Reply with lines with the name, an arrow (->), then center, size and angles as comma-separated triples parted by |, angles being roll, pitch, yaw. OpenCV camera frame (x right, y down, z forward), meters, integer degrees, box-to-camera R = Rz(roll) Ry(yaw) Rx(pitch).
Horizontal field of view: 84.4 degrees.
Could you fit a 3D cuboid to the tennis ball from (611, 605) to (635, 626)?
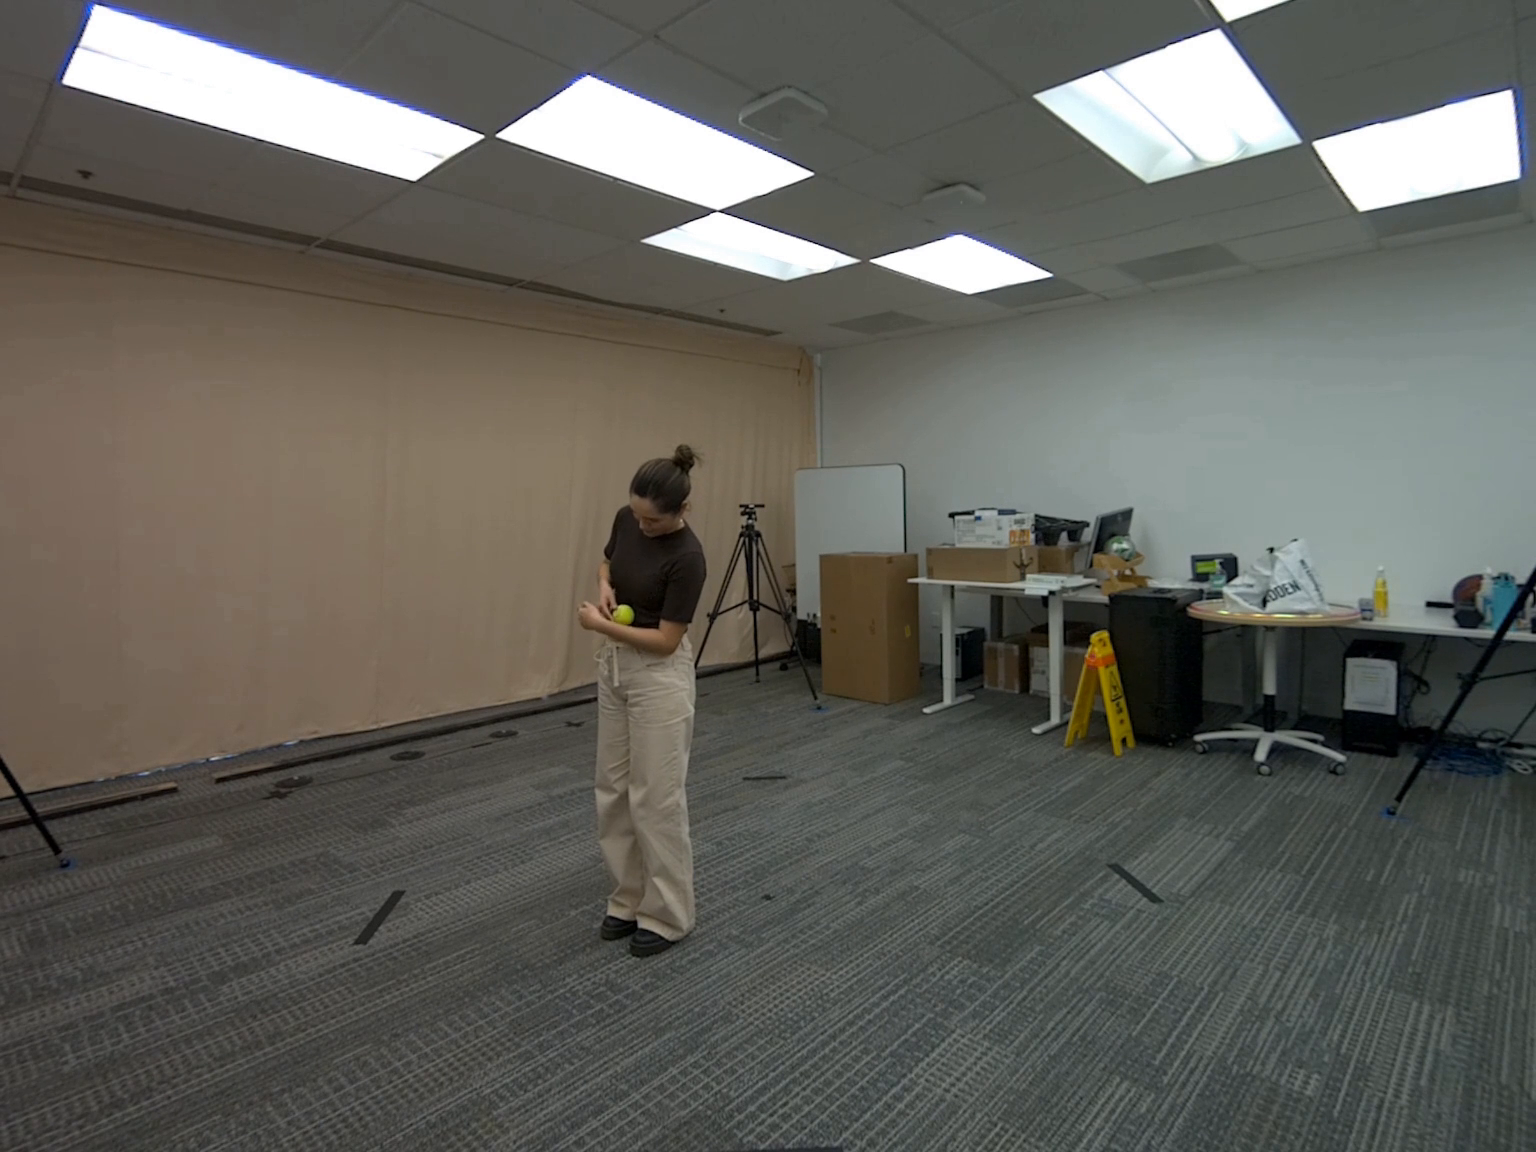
tennis ball -> -0.455, 0.116, 2.659 | 0.066, 0.066, 0.067 | -1, 4, -2
